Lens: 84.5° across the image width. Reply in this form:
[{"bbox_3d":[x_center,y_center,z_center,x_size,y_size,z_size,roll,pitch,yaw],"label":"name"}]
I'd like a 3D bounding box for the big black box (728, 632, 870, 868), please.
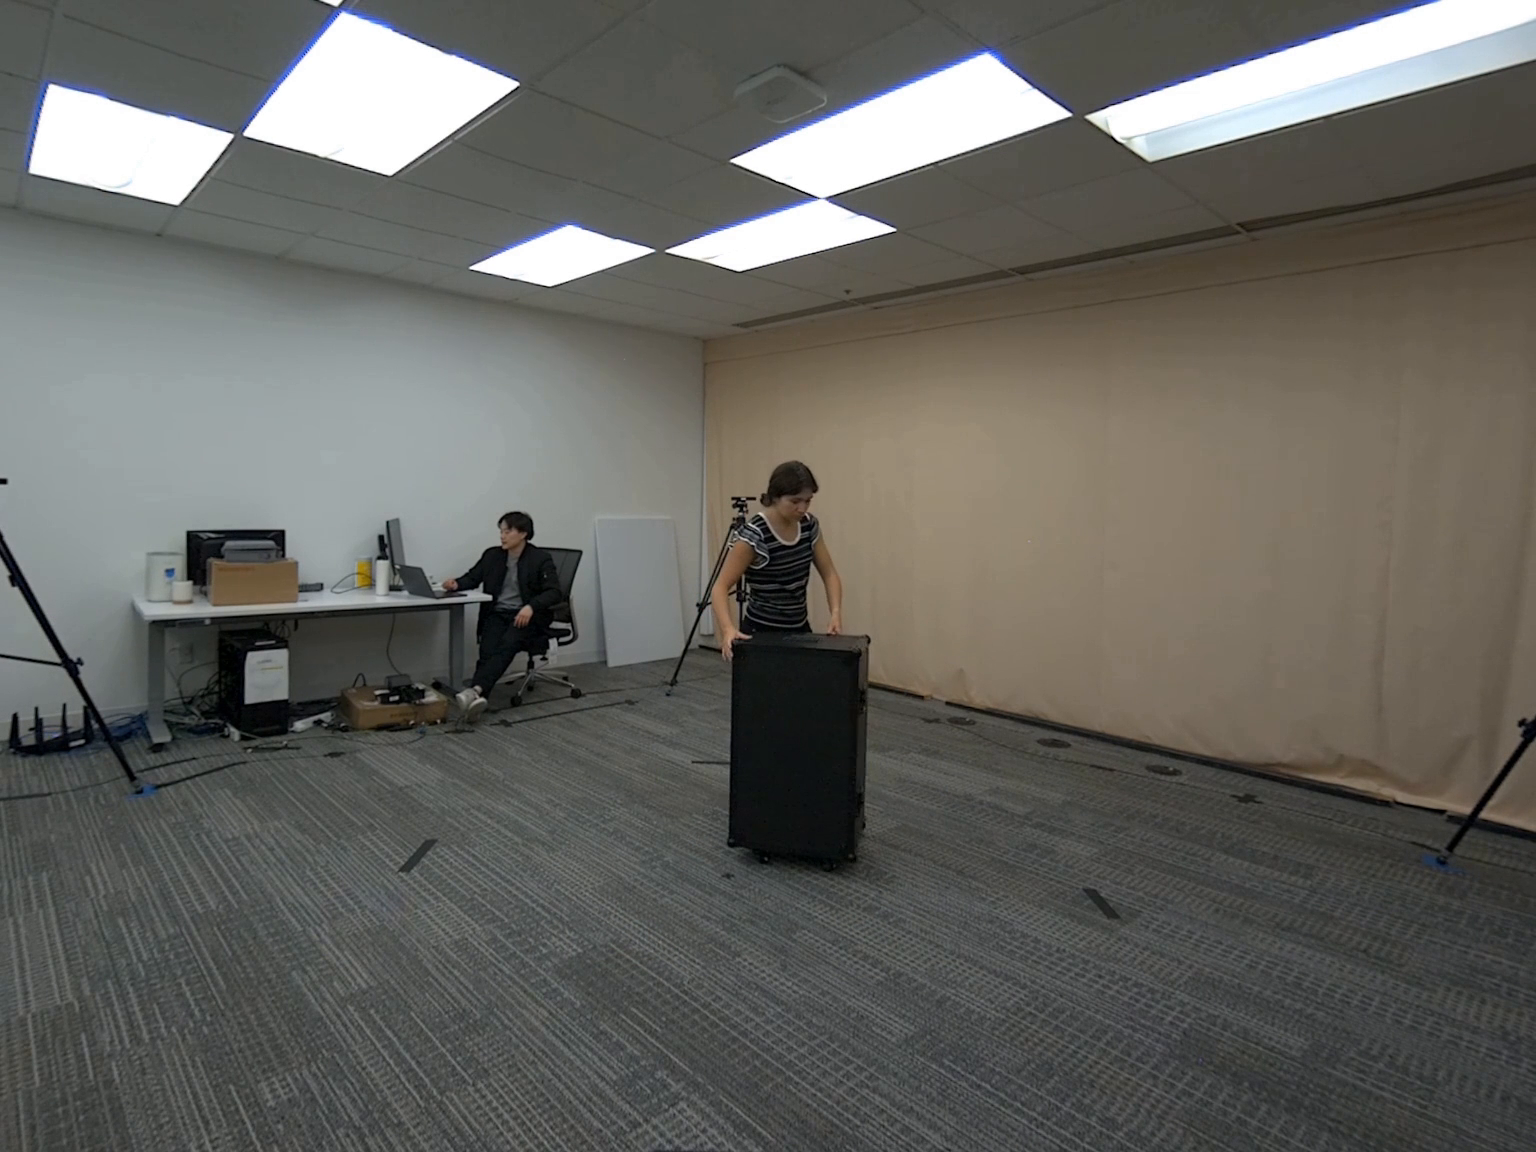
[{"bbox_3d":[0.117,0.671,3.289,0.527,0.860,0.392,2,3,14],"label":"big black box"}]
